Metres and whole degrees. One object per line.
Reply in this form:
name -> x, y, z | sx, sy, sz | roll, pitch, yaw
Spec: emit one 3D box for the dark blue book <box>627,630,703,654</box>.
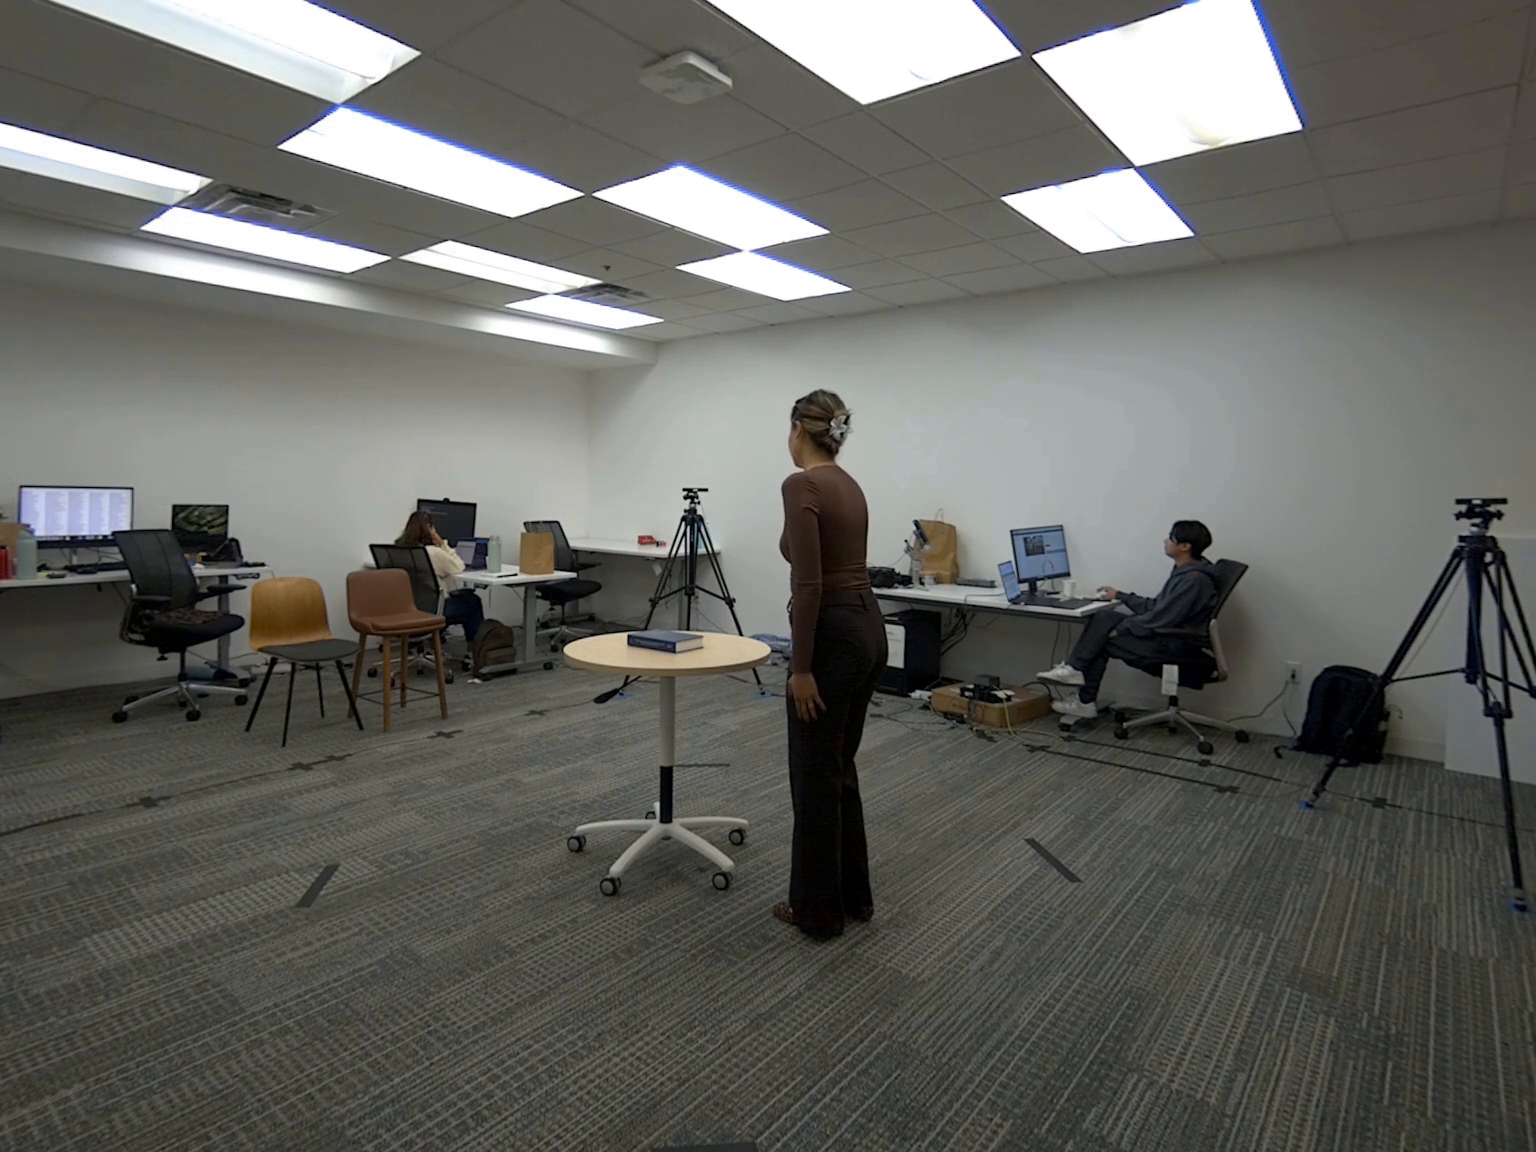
dark blue book -> -0.394, 0.241, 3.183 | 0.253, 0.045, 0.159 | 4, 6, 36
